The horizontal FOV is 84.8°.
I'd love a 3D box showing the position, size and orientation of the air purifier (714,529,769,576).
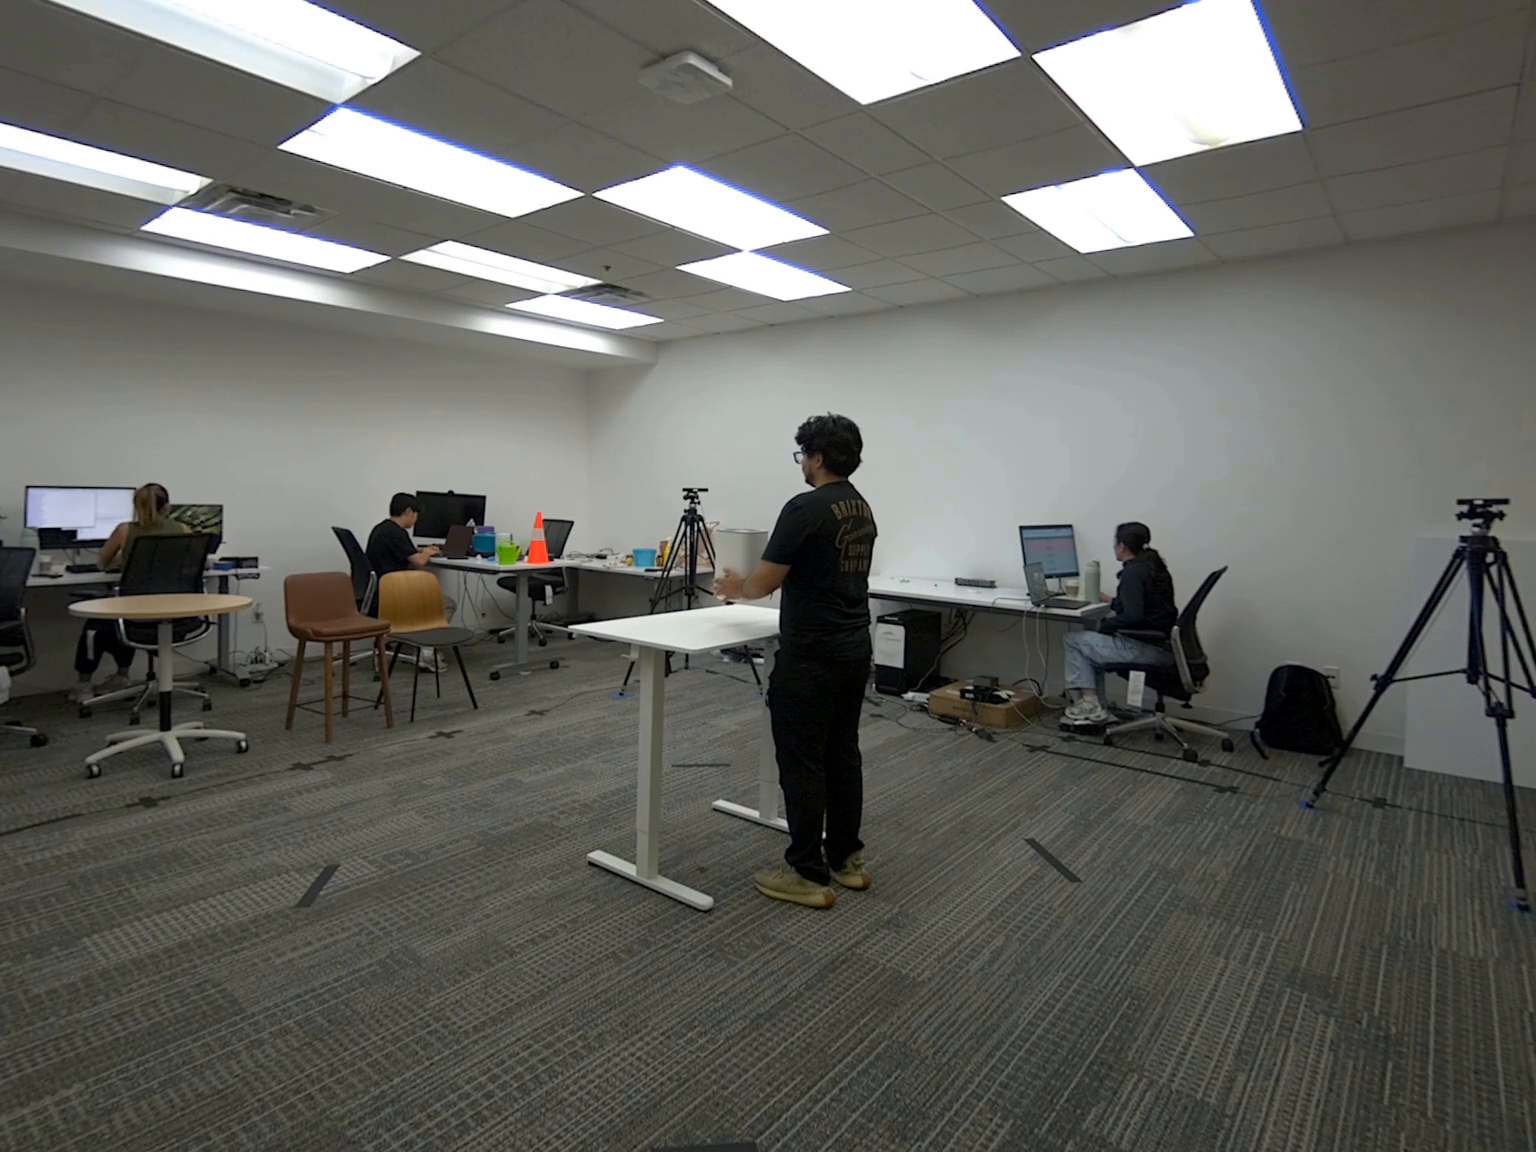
[{"bbox_3d":[-0.107,-0.047,3.218,0.176,0.265,0.166,4,3,33],"label":"air purifier"}]
